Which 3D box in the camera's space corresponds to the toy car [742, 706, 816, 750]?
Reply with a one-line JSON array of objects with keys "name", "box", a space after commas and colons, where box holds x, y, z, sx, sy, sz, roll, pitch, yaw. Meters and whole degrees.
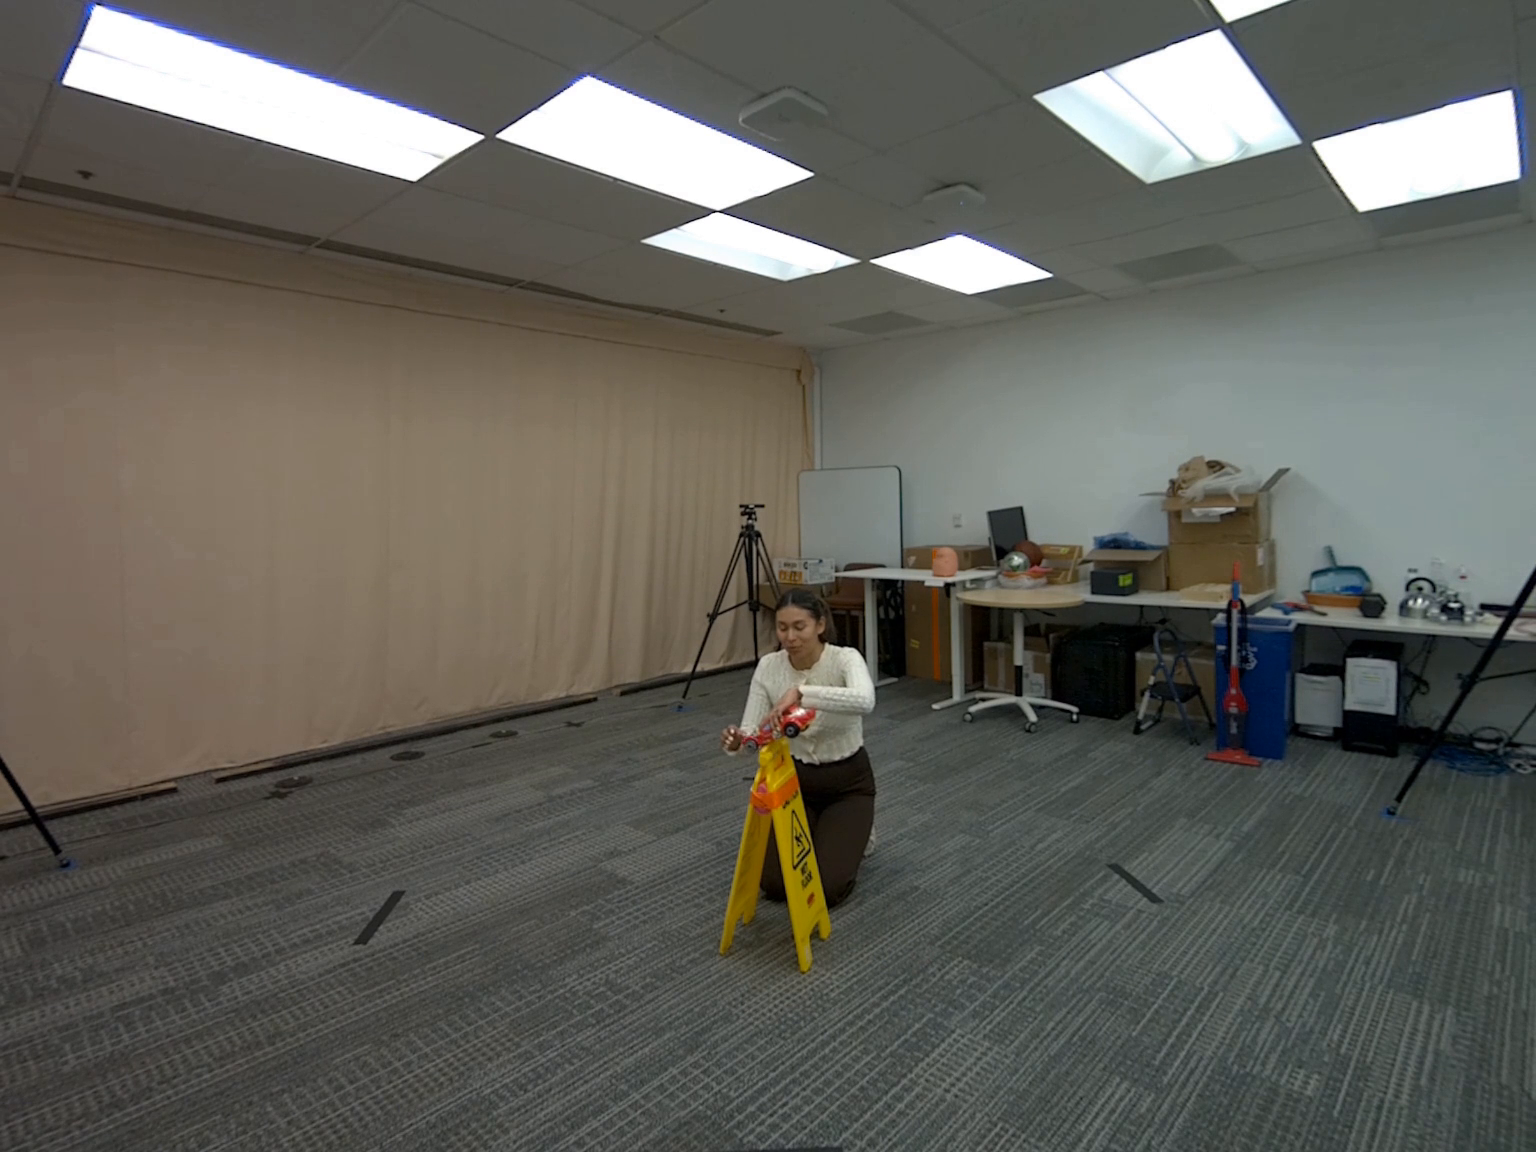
[{"name": "toy car", "box": [0.046, 0.476, 2.611, 0.257, 0.084, 0.128, -34, -6, 18]}]
